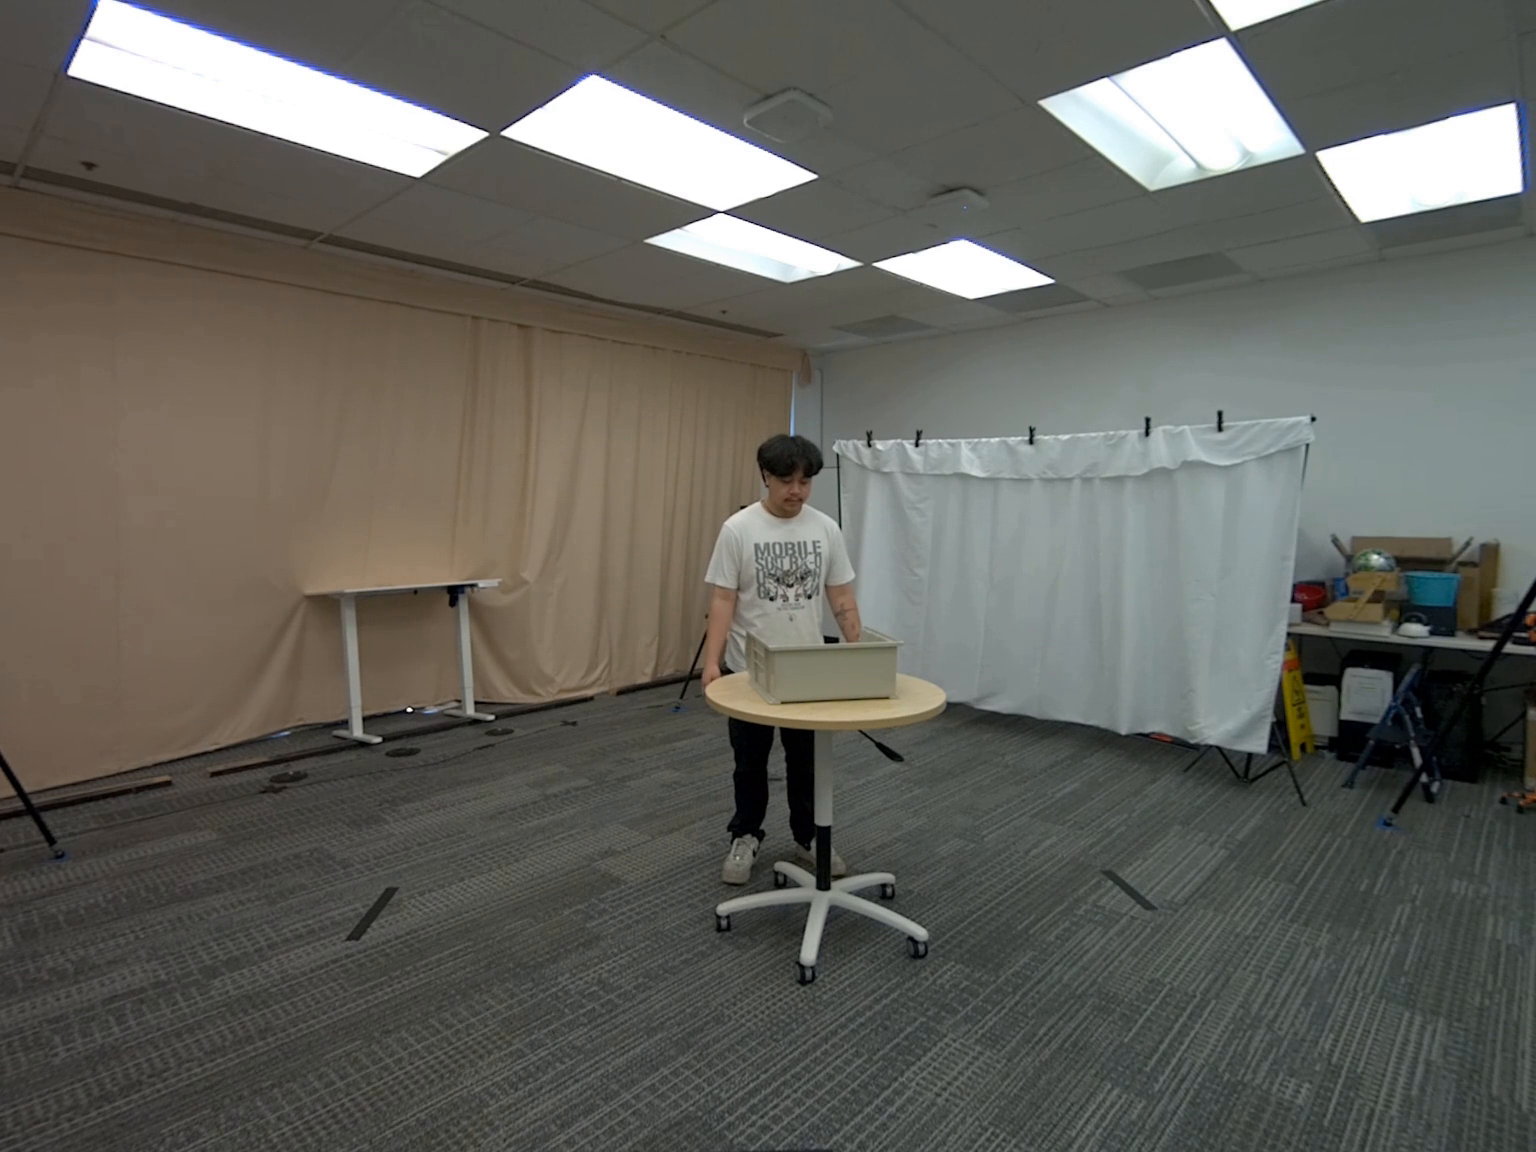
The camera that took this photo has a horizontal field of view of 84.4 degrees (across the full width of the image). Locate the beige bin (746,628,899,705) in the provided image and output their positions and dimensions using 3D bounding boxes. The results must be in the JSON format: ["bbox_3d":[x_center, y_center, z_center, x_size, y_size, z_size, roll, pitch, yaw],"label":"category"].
[{"bbox_3d":[0.167,0.277,2.728,0.417,0.188,0.383,-1,6,-12],"label":"beige bin"}]
